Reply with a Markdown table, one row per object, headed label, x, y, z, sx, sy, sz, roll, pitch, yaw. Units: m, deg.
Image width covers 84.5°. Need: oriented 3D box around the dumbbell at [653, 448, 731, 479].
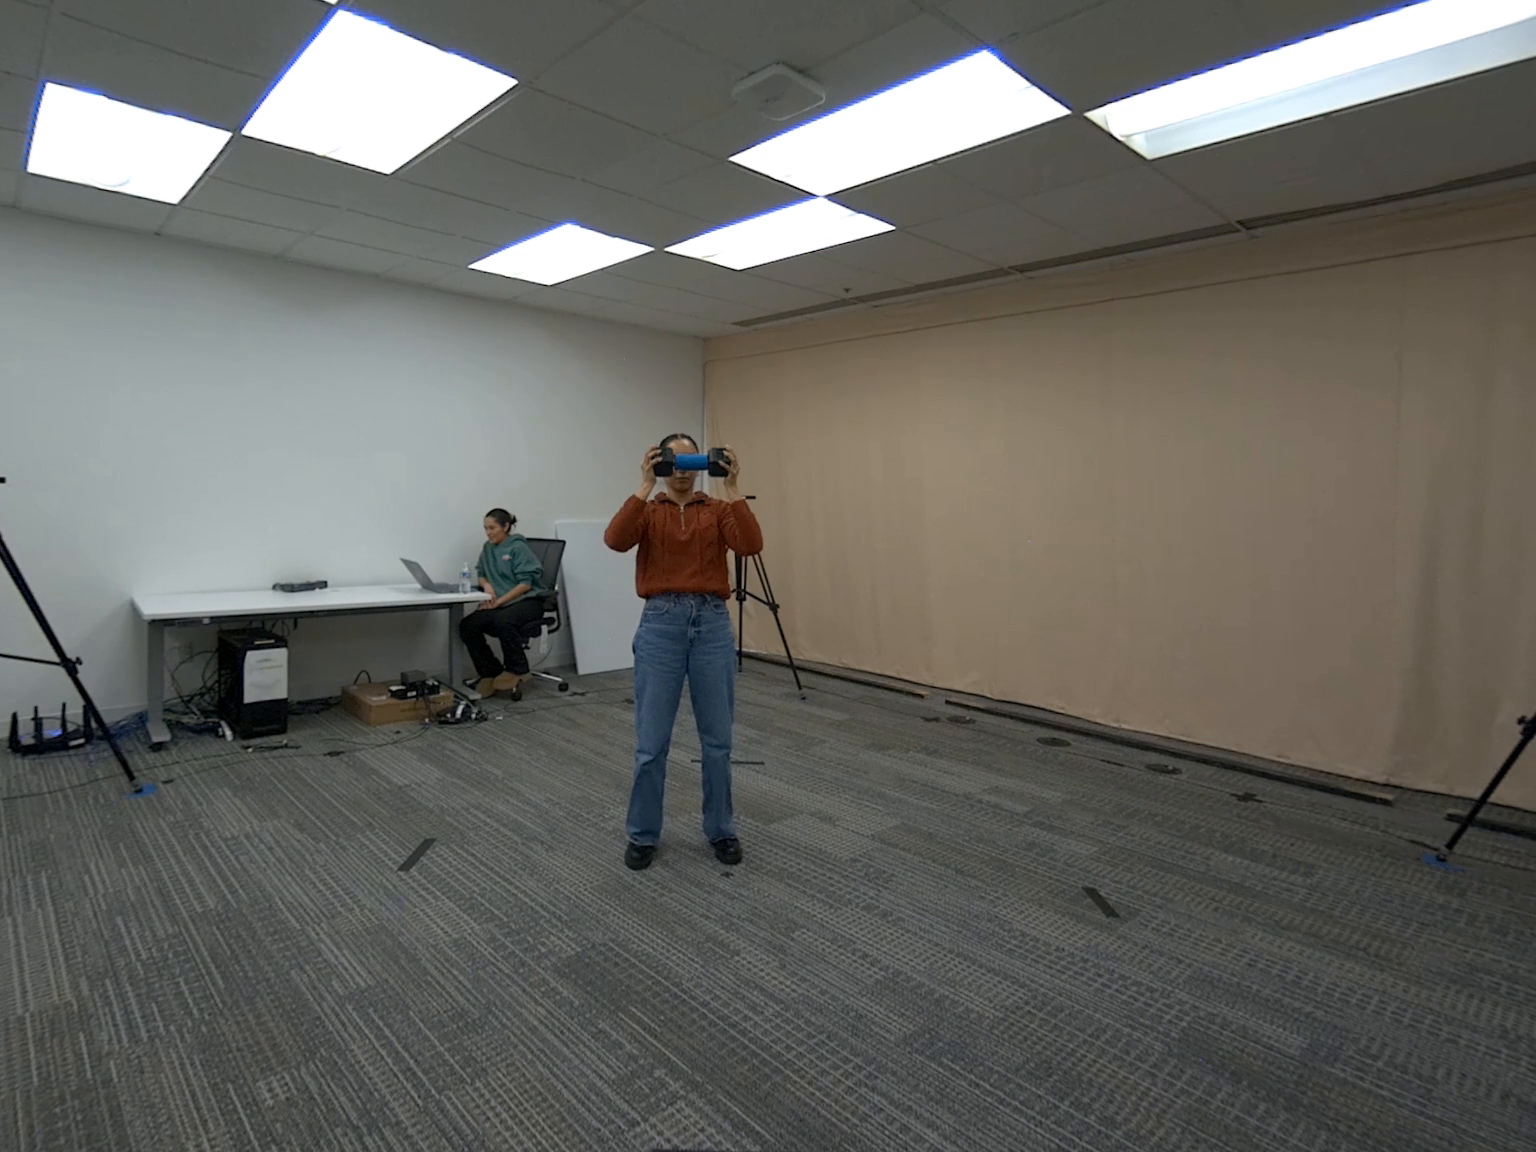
| label | x | y | z | sx | sy | sz | roll | pitch | yaw |
| --- | --- | --- | --- | --- | --- | --- | --- | --- | --- |
| dumbbell | -0.294 | -0.425 | 3.107 | 0.292 | 0.125 | 0.107 | 0 | -31 | -6 |
